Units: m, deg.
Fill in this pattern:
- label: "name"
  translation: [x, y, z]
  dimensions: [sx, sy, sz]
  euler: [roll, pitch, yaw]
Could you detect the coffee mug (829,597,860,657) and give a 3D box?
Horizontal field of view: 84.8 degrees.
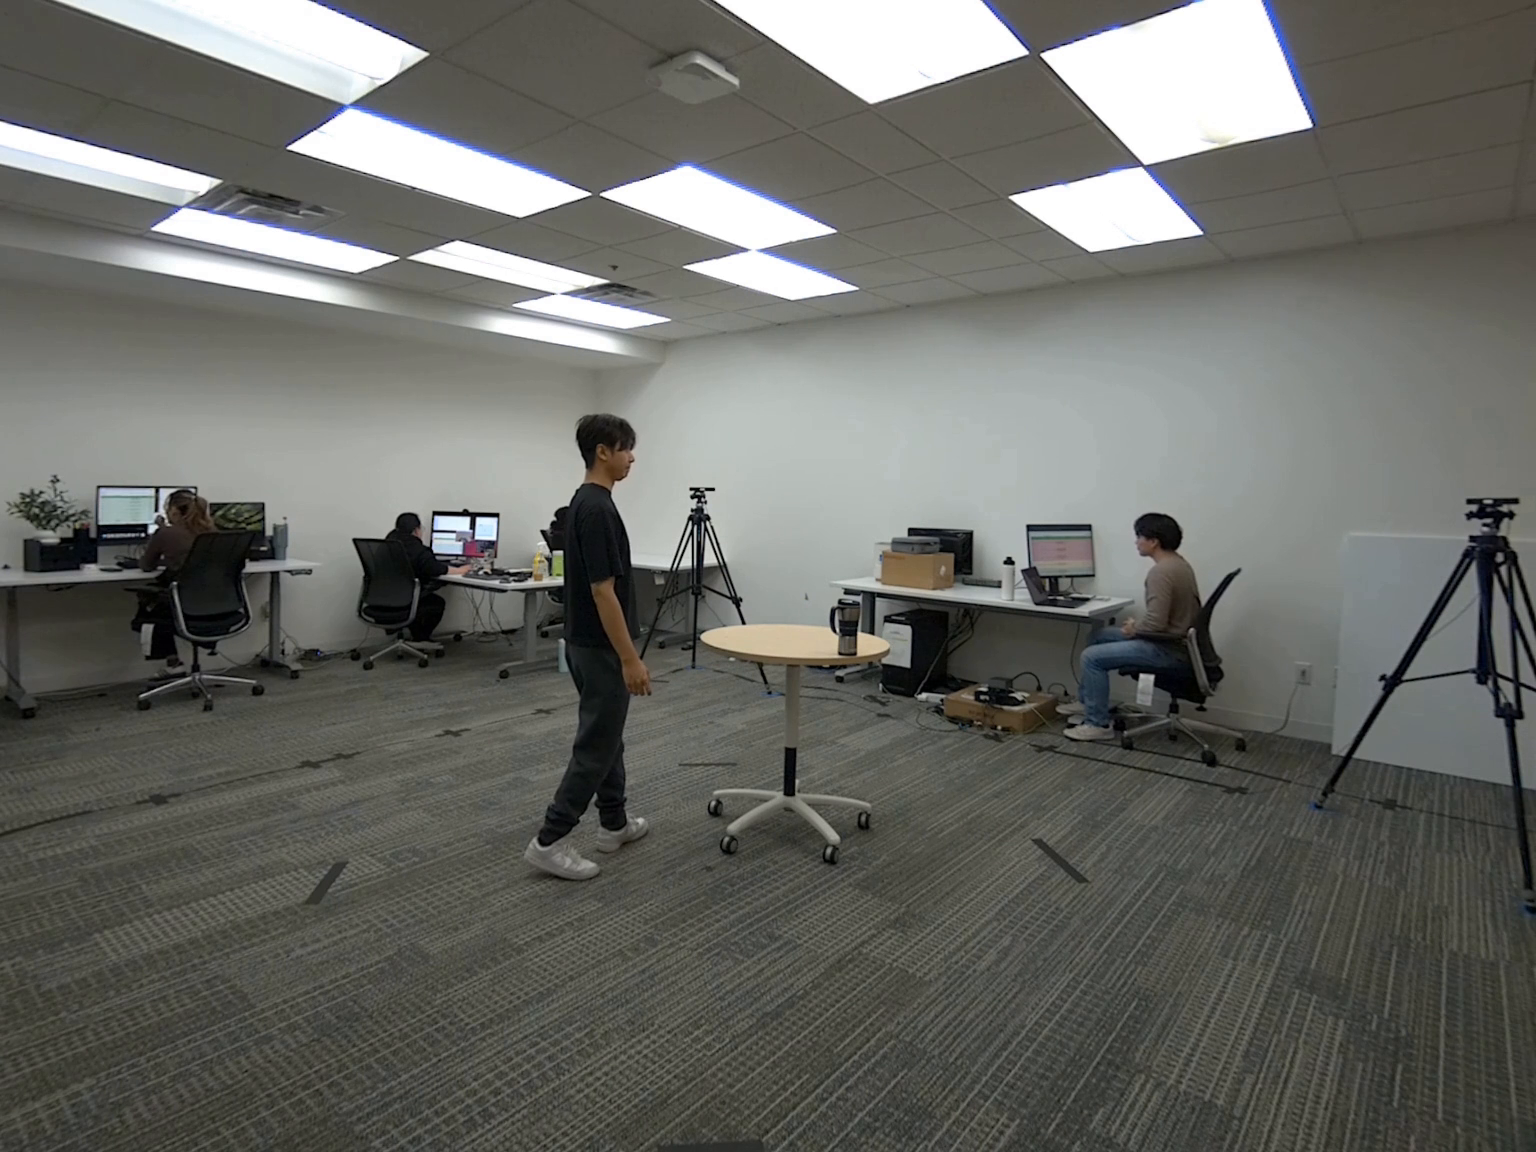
- label: "coffee mug"
  translation: [0.274, 0.190, 3.172]
  dimensions: [0.126, 0.201, 0.085]
  euler: [9, 10, 35]
